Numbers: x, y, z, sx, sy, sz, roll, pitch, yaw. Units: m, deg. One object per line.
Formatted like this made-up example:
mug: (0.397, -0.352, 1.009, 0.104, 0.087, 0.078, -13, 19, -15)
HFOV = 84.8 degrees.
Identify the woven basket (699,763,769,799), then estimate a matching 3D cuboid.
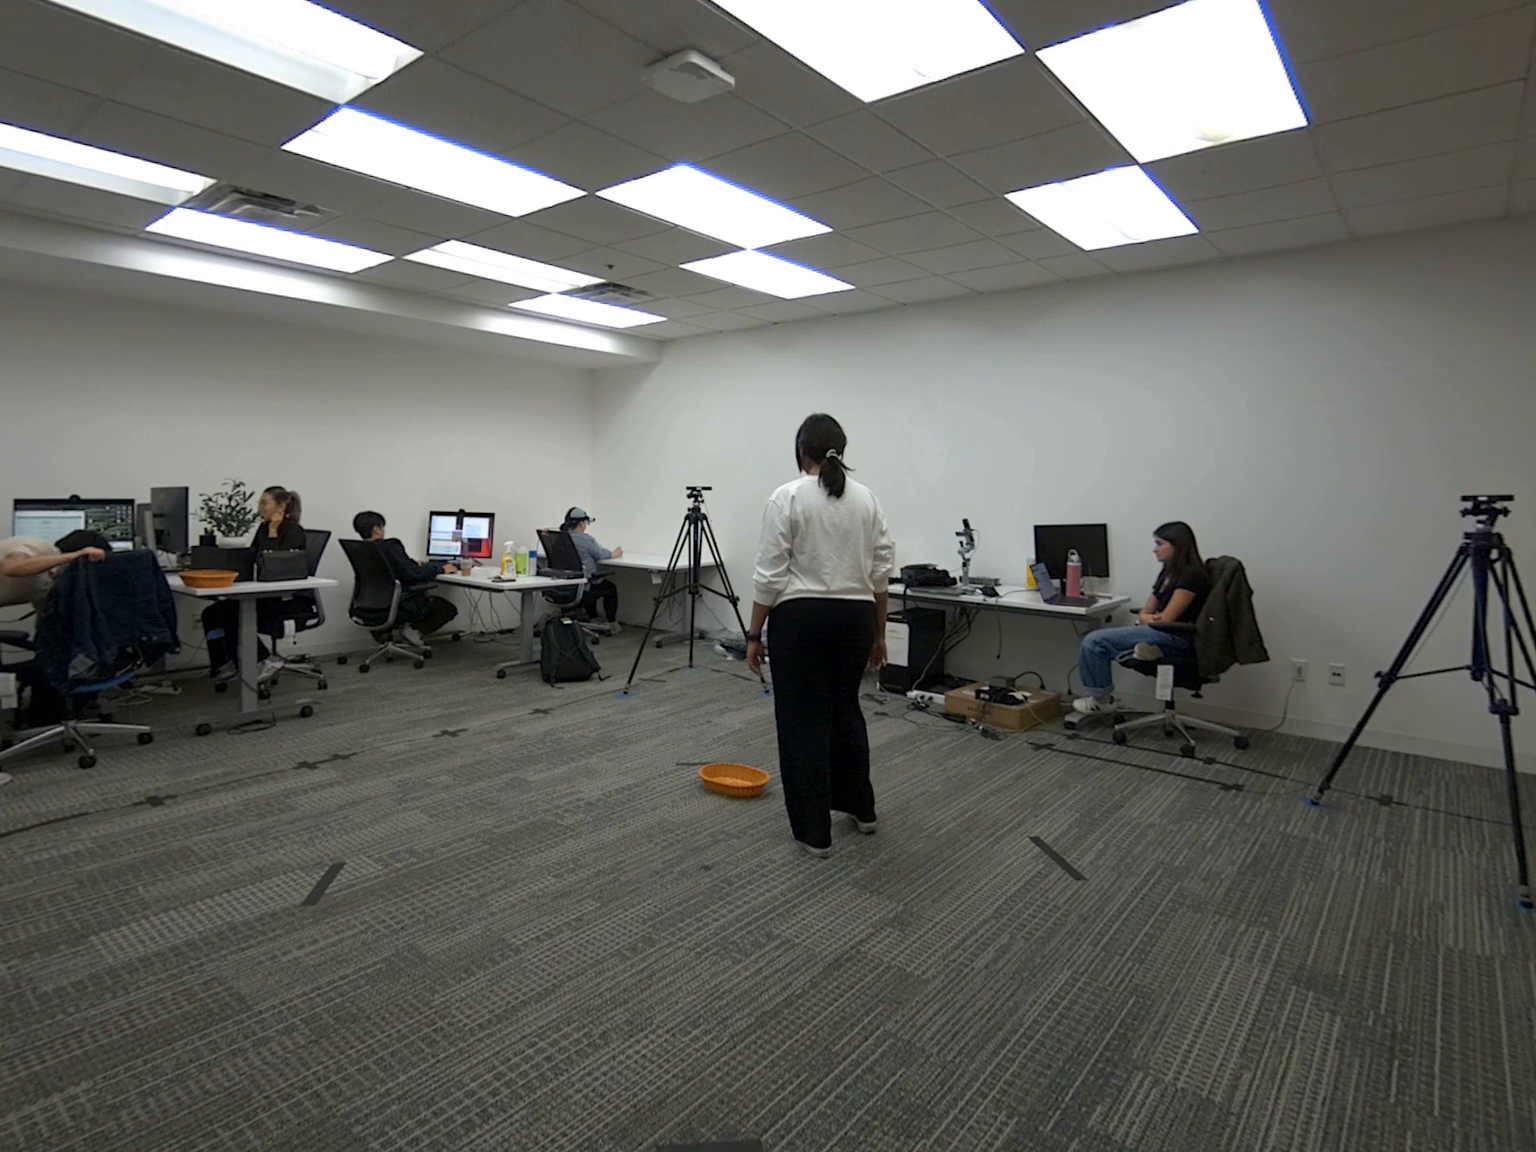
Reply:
woven basket: (-0.161, 0.944, 3.936, 0.362, 0.073, 0.245, 5, 8, 36)
